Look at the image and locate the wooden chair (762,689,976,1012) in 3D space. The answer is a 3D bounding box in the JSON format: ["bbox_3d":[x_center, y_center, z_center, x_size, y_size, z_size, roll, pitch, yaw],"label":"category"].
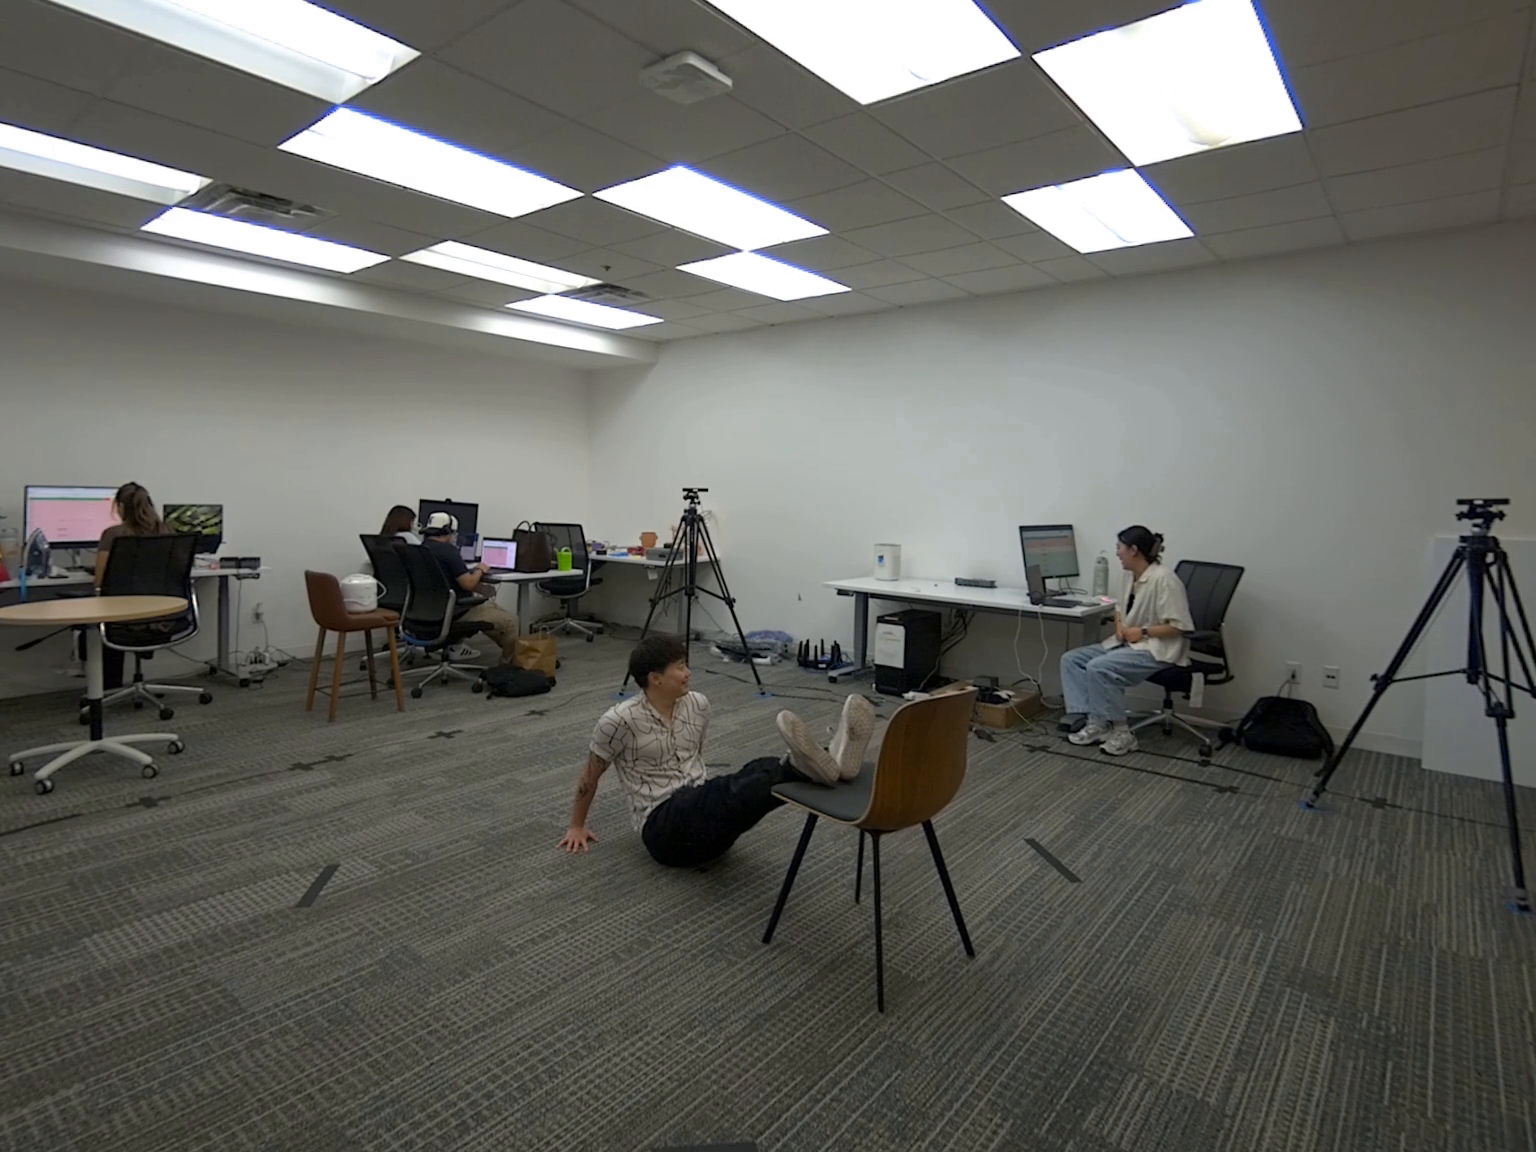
[{"bbox_3d":[0.302,0.705,2.567,0.463,0.872,0.542,-2,9,-43],"label":"wooden chair"}]
